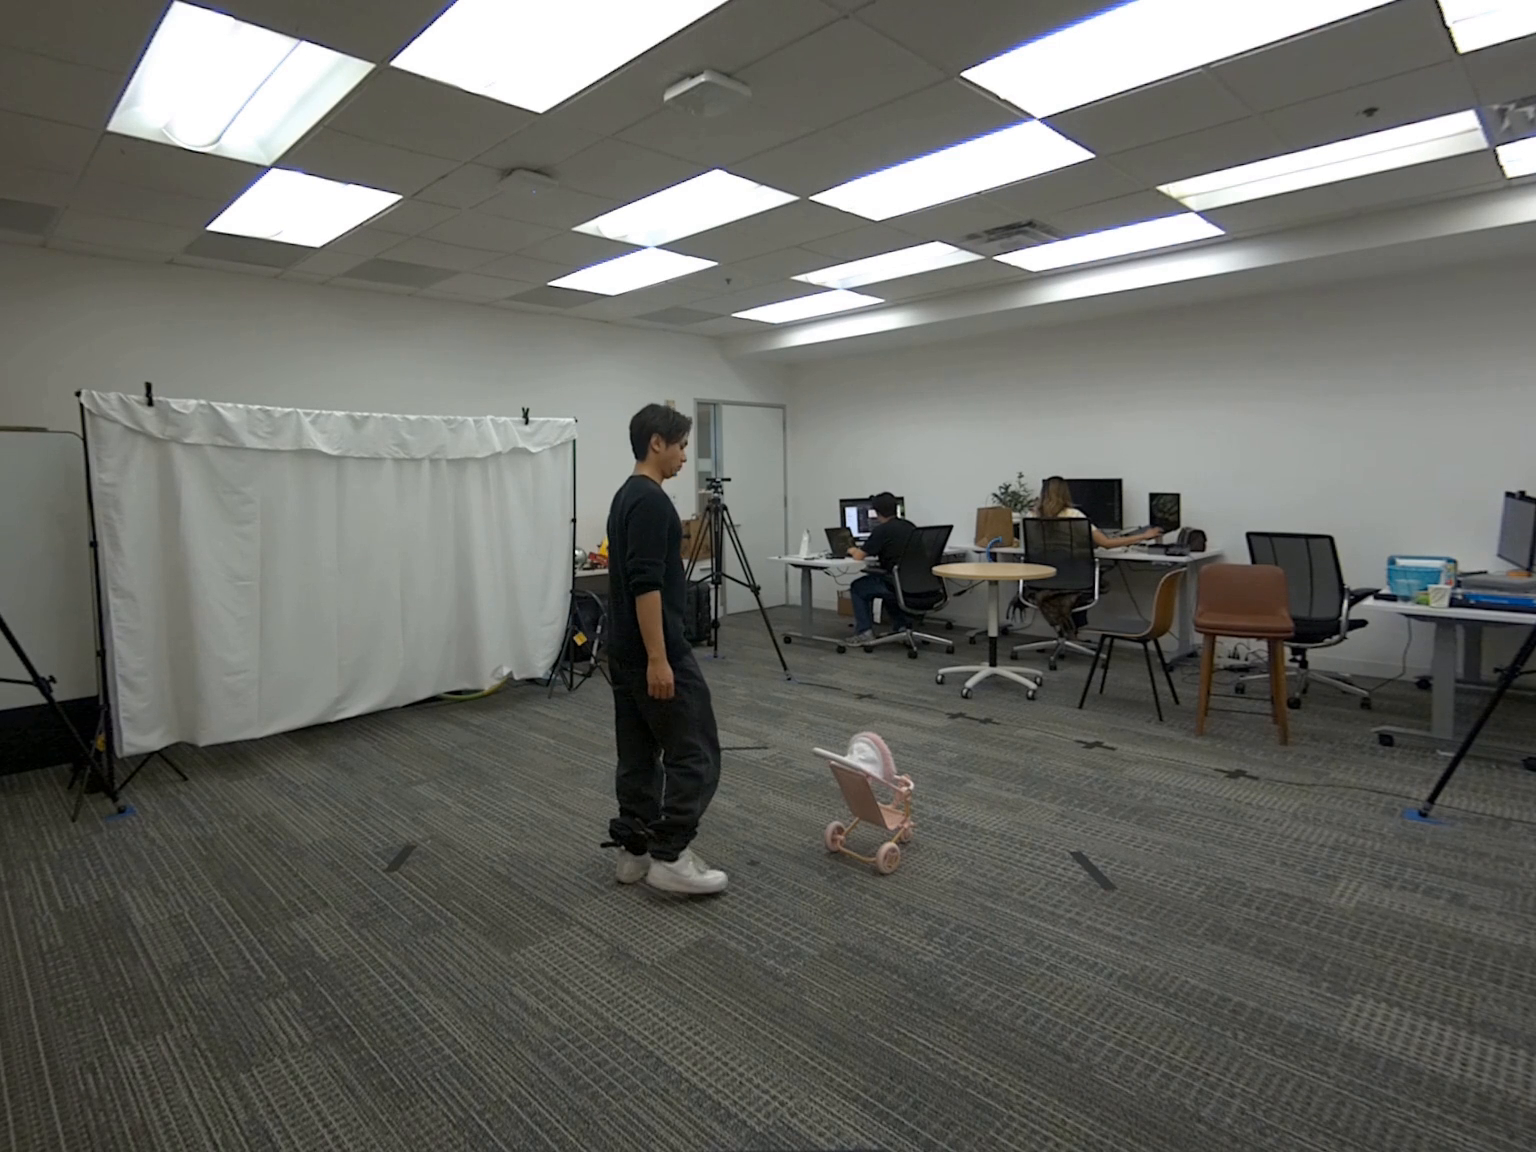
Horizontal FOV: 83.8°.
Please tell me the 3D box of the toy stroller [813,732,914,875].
[{"bbox_3d":[0.386,0.809,3.127,0.336,0.527,0.290,-22,16,-34],"label":"toy stroller"}]
